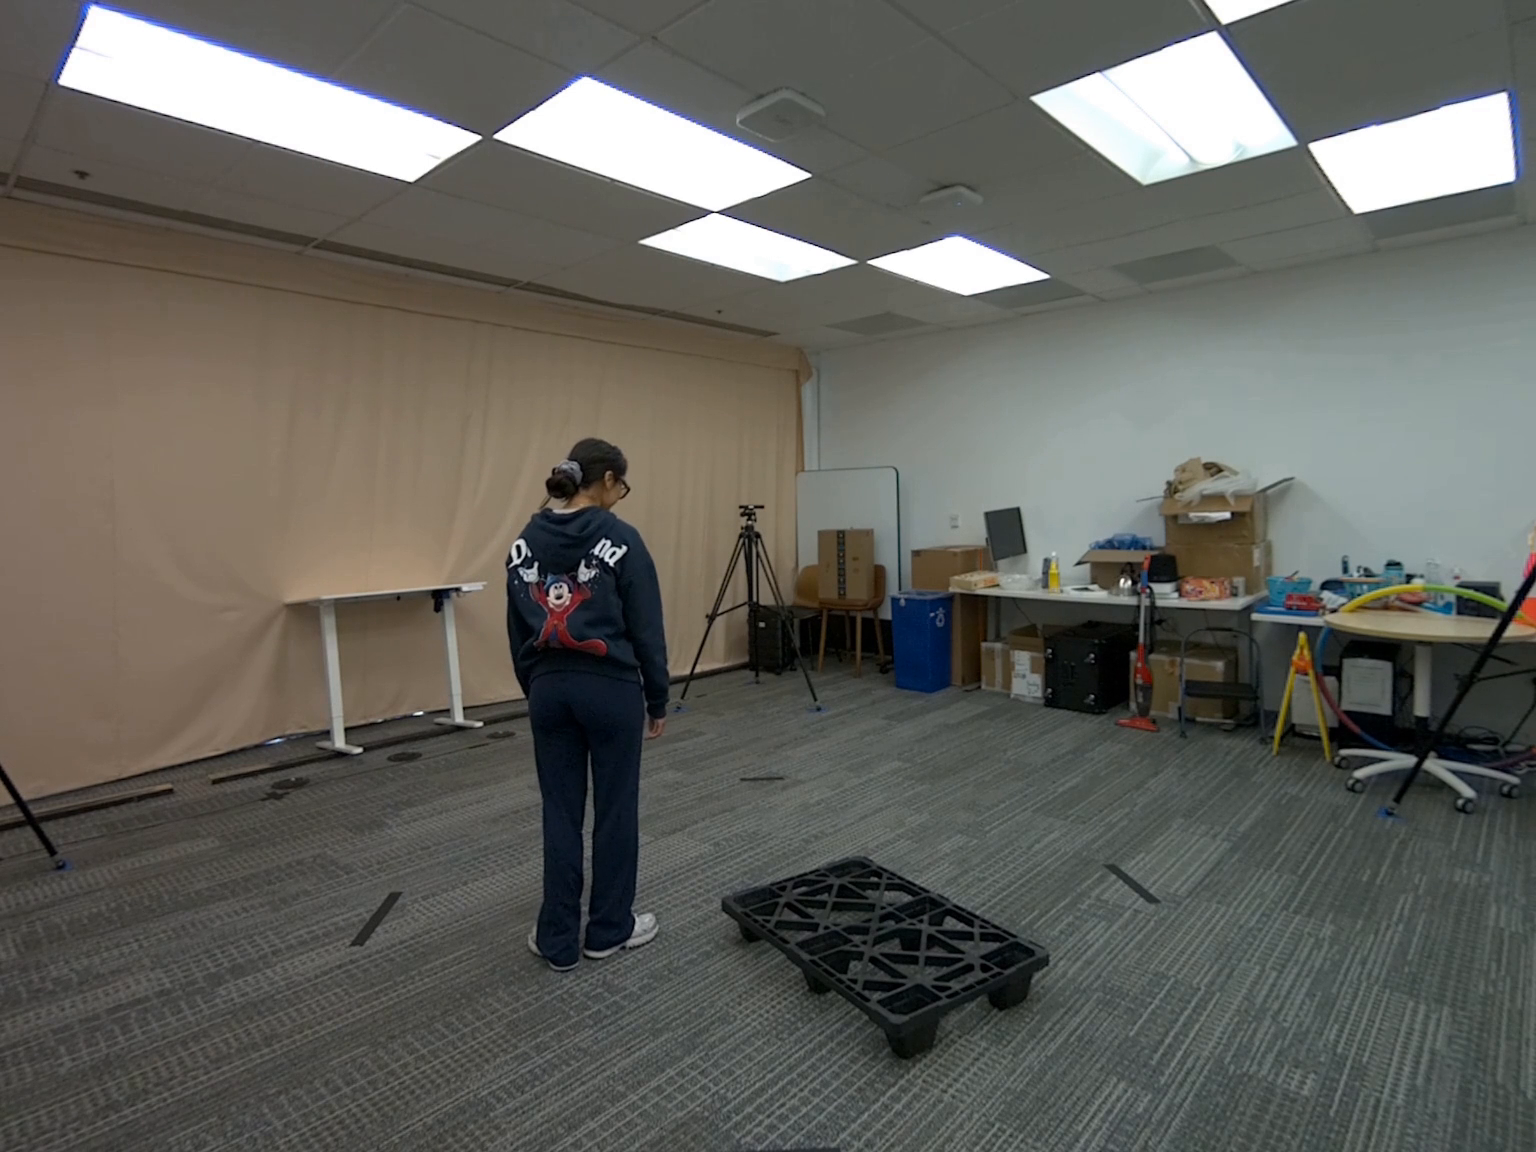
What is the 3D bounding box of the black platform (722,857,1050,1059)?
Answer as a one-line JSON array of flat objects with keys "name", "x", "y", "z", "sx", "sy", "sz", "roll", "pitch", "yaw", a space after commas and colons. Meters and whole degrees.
[{"name": "black platform", "x": 0.323, "y": 1.108, "z": 2.530, "sx": 0.588, "sy": 0.143, "sz": 0.831, "roll": -3, "pitch": 6, "yaw": -34}]
